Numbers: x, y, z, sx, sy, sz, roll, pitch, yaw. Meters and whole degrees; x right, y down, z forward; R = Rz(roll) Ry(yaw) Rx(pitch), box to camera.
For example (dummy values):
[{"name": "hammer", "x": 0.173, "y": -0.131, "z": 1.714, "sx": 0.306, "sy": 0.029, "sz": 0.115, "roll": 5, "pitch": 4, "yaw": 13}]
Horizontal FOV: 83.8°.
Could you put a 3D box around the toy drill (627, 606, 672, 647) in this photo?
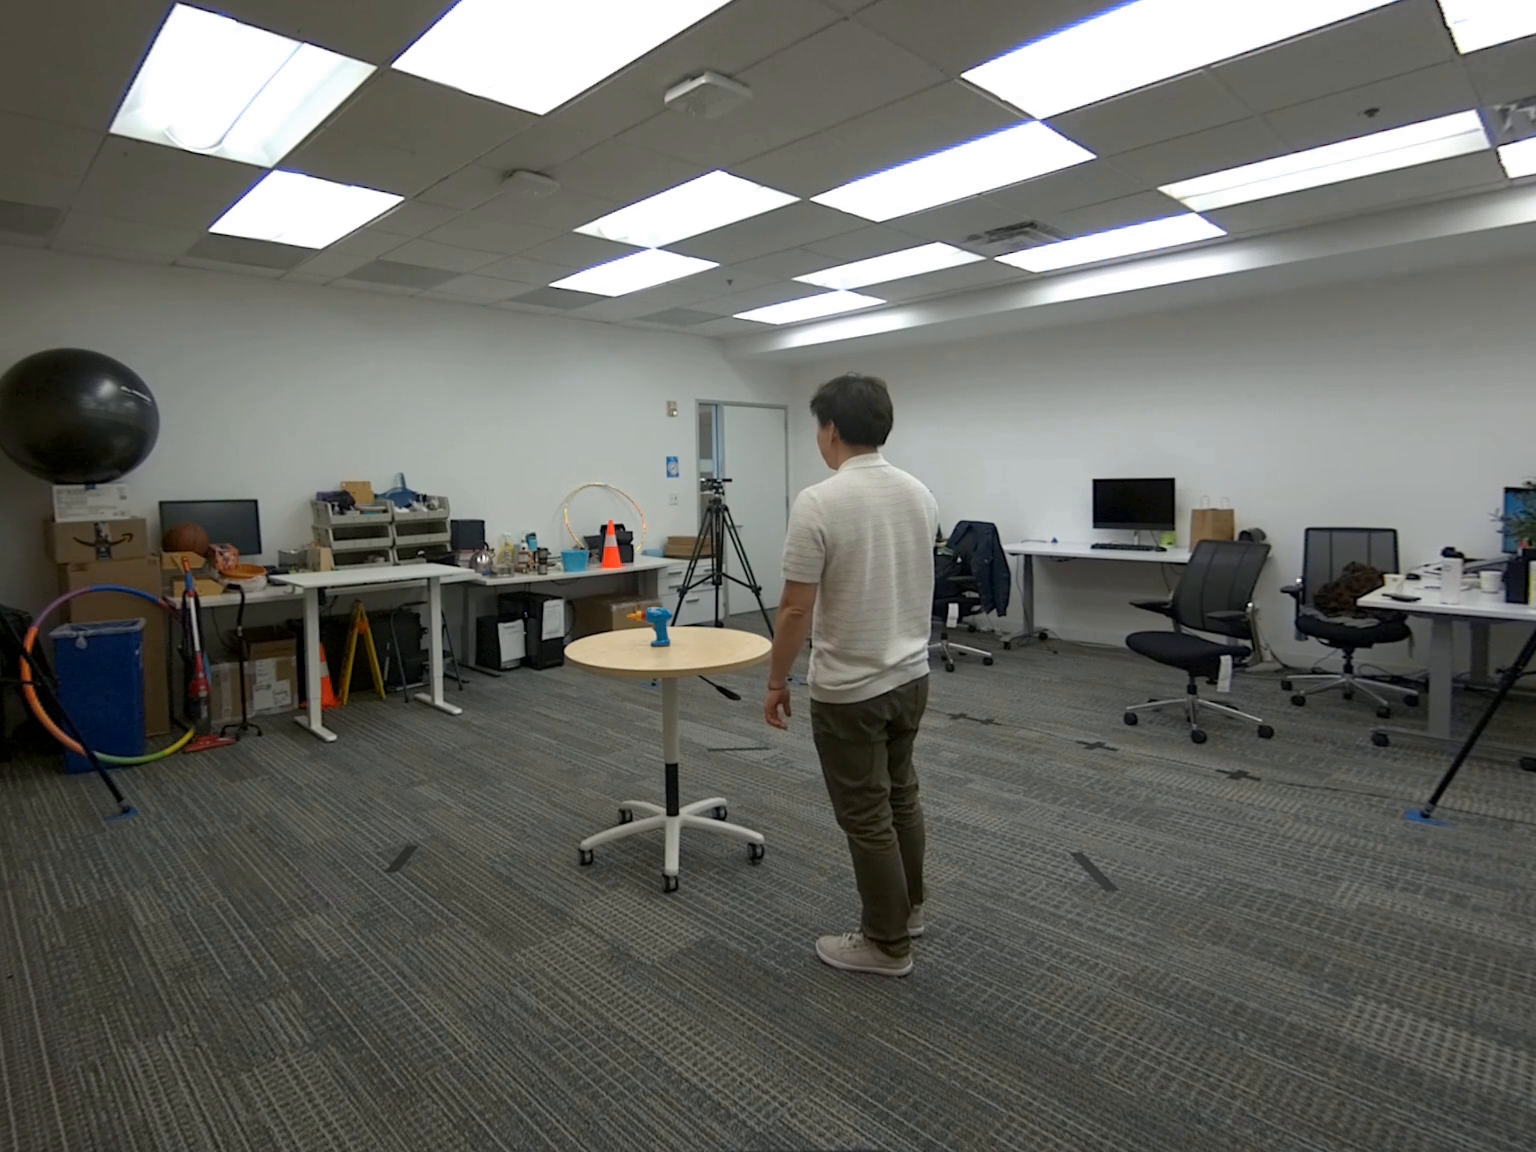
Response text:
[{"name": "toy drill", "x": -0.436, "y": 0.186, "z": 3.167, "sx": 0.169, "sy": 0.145, "sz": 0.061, "roll": 0, "pitch": 6, "yaw": -2}]
